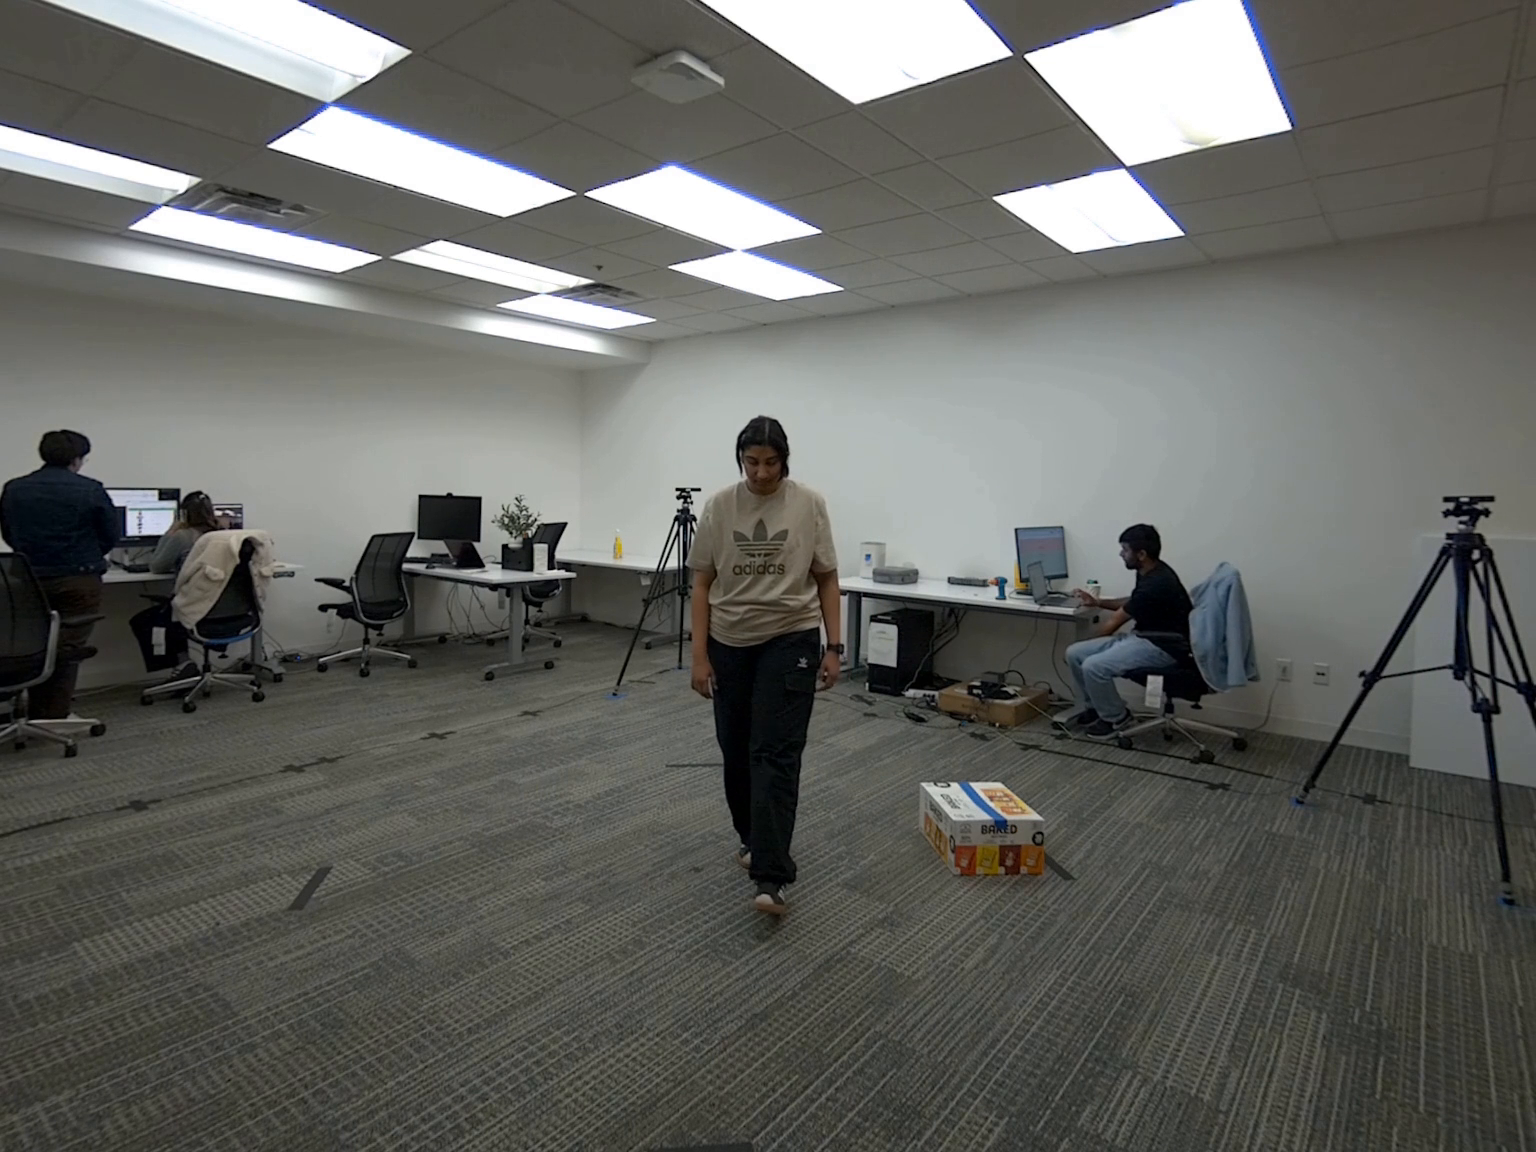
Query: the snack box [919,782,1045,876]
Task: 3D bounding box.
[{"bbox_3d":[0.814,0.974,3.309,0.338,0.205,0.409,1,5,-6],"label":"snack box"}]
